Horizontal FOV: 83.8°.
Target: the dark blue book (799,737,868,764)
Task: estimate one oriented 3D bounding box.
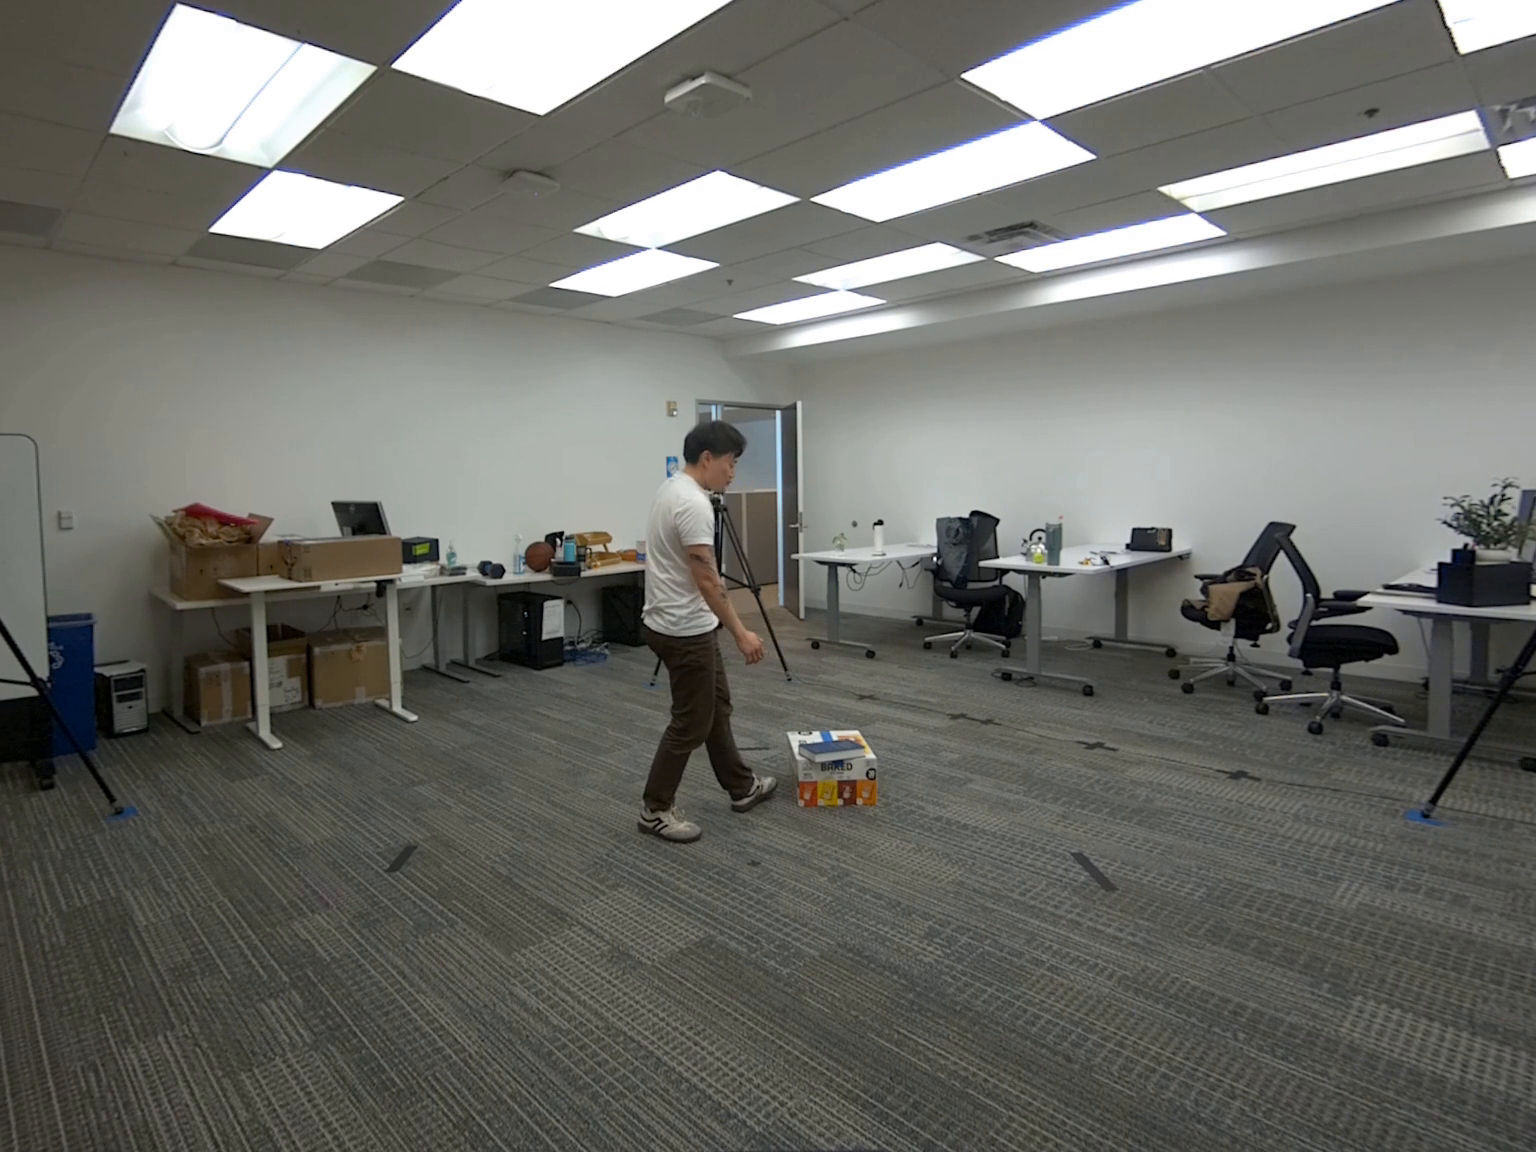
[{"bbox_3d":[0.280,0.750,3.684,0.240,0.045,0.167,-2,3,-23],"label":"dark blue book"}]
